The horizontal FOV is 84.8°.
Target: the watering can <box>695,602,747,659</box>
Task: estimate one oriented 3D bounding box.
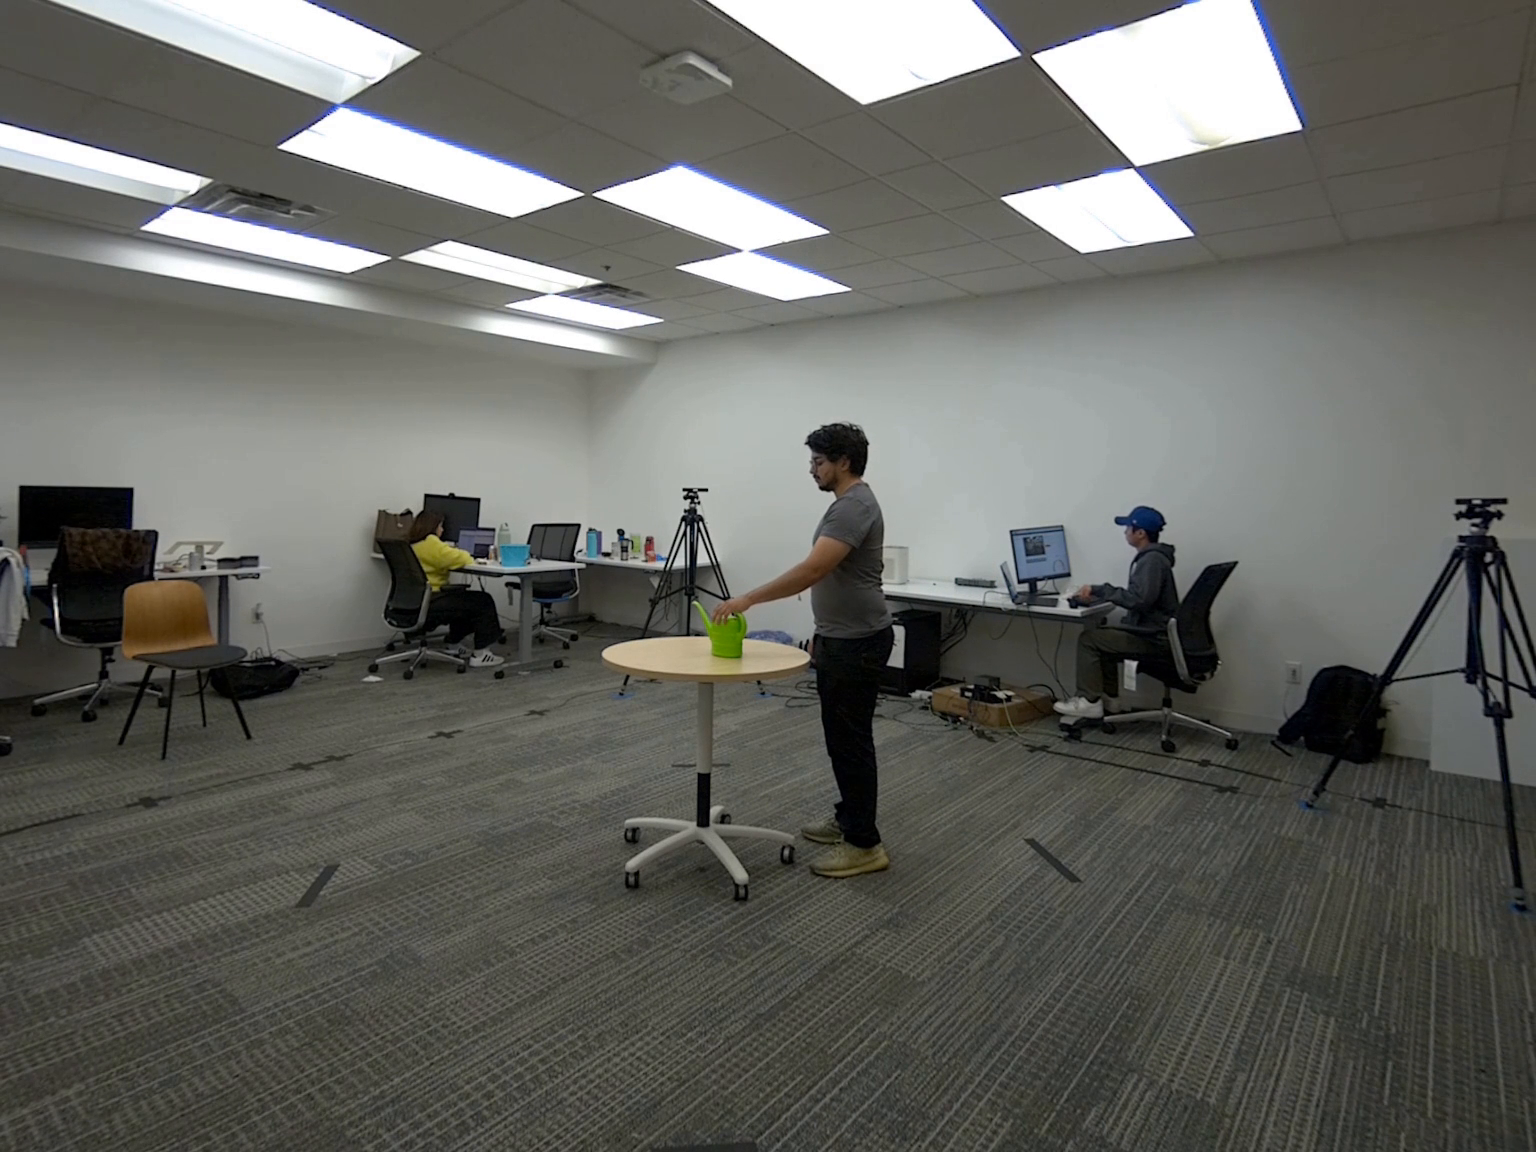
[{"bbox_3d":[-0.186,0.198,3.146,0.095,0.176,0.288,-2,7,-35],"label":"watering can"}]
